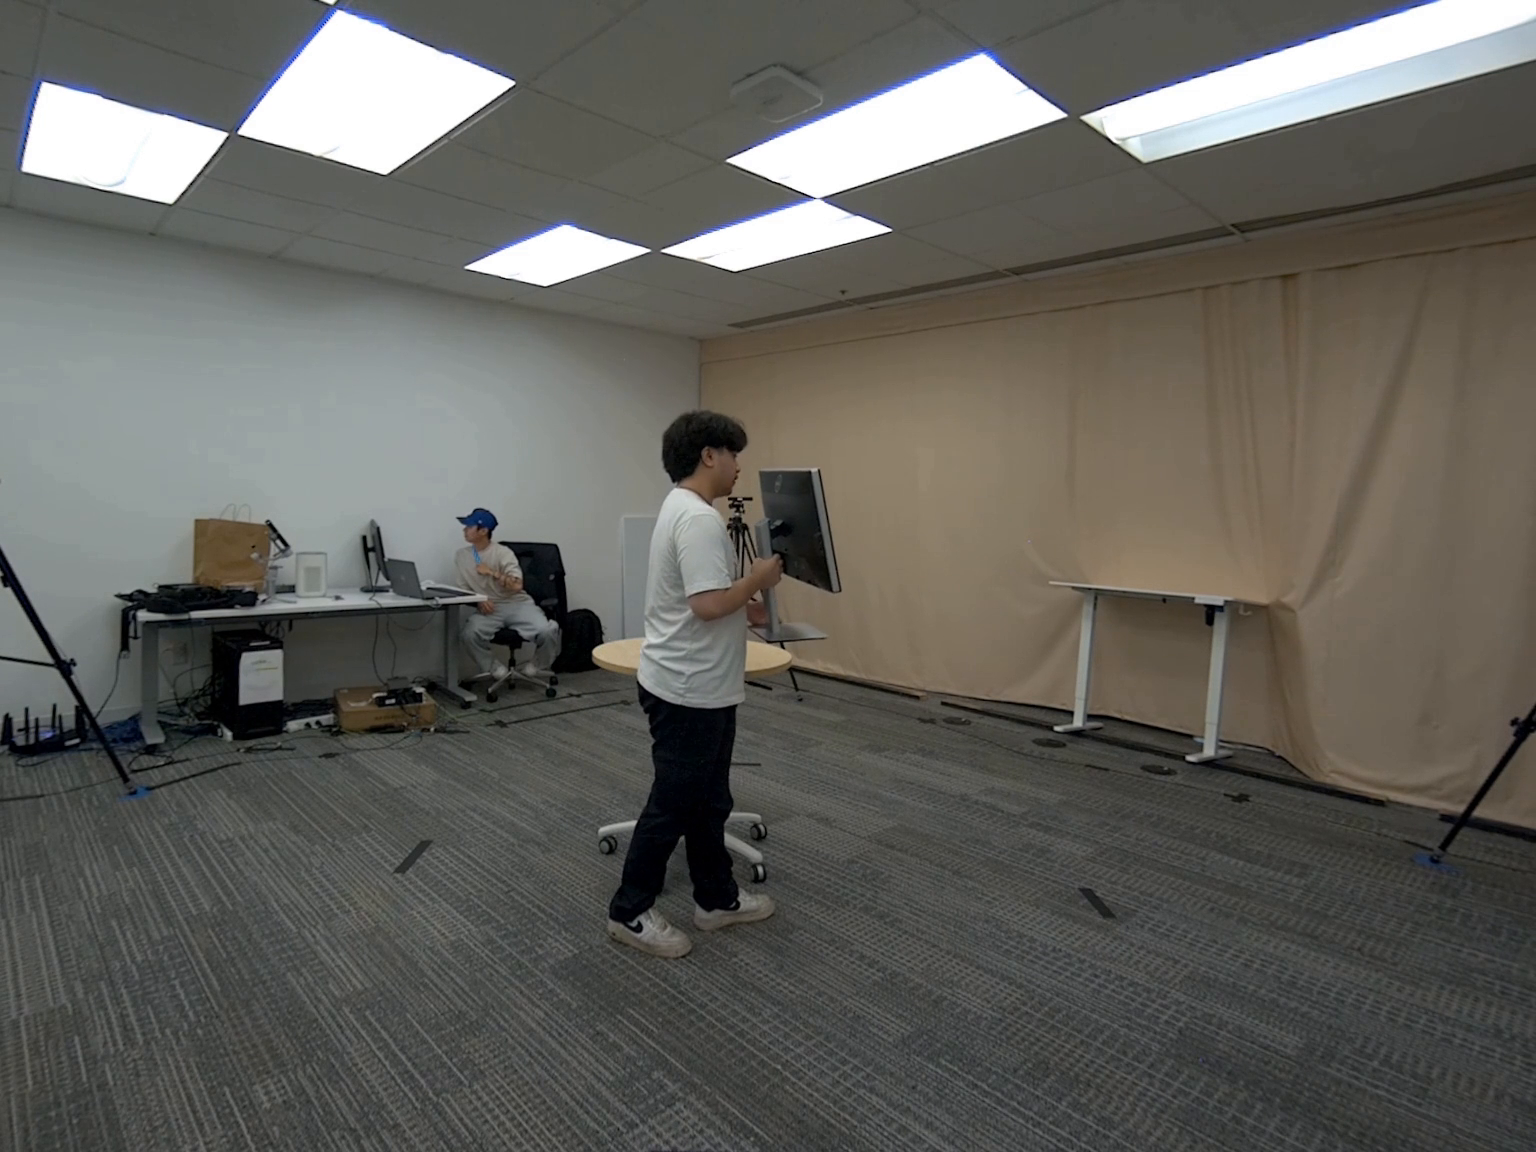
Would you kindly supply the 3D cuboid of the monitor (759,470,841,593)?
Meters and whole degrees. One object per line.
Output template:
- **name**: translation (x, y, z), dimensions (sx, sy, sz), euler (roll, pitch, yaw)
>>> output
- **monitor**: translation (0.022, -0.063, 2.656), dimensions (0.208, 0.551, 0.574), euler (-6, 8, -16)
